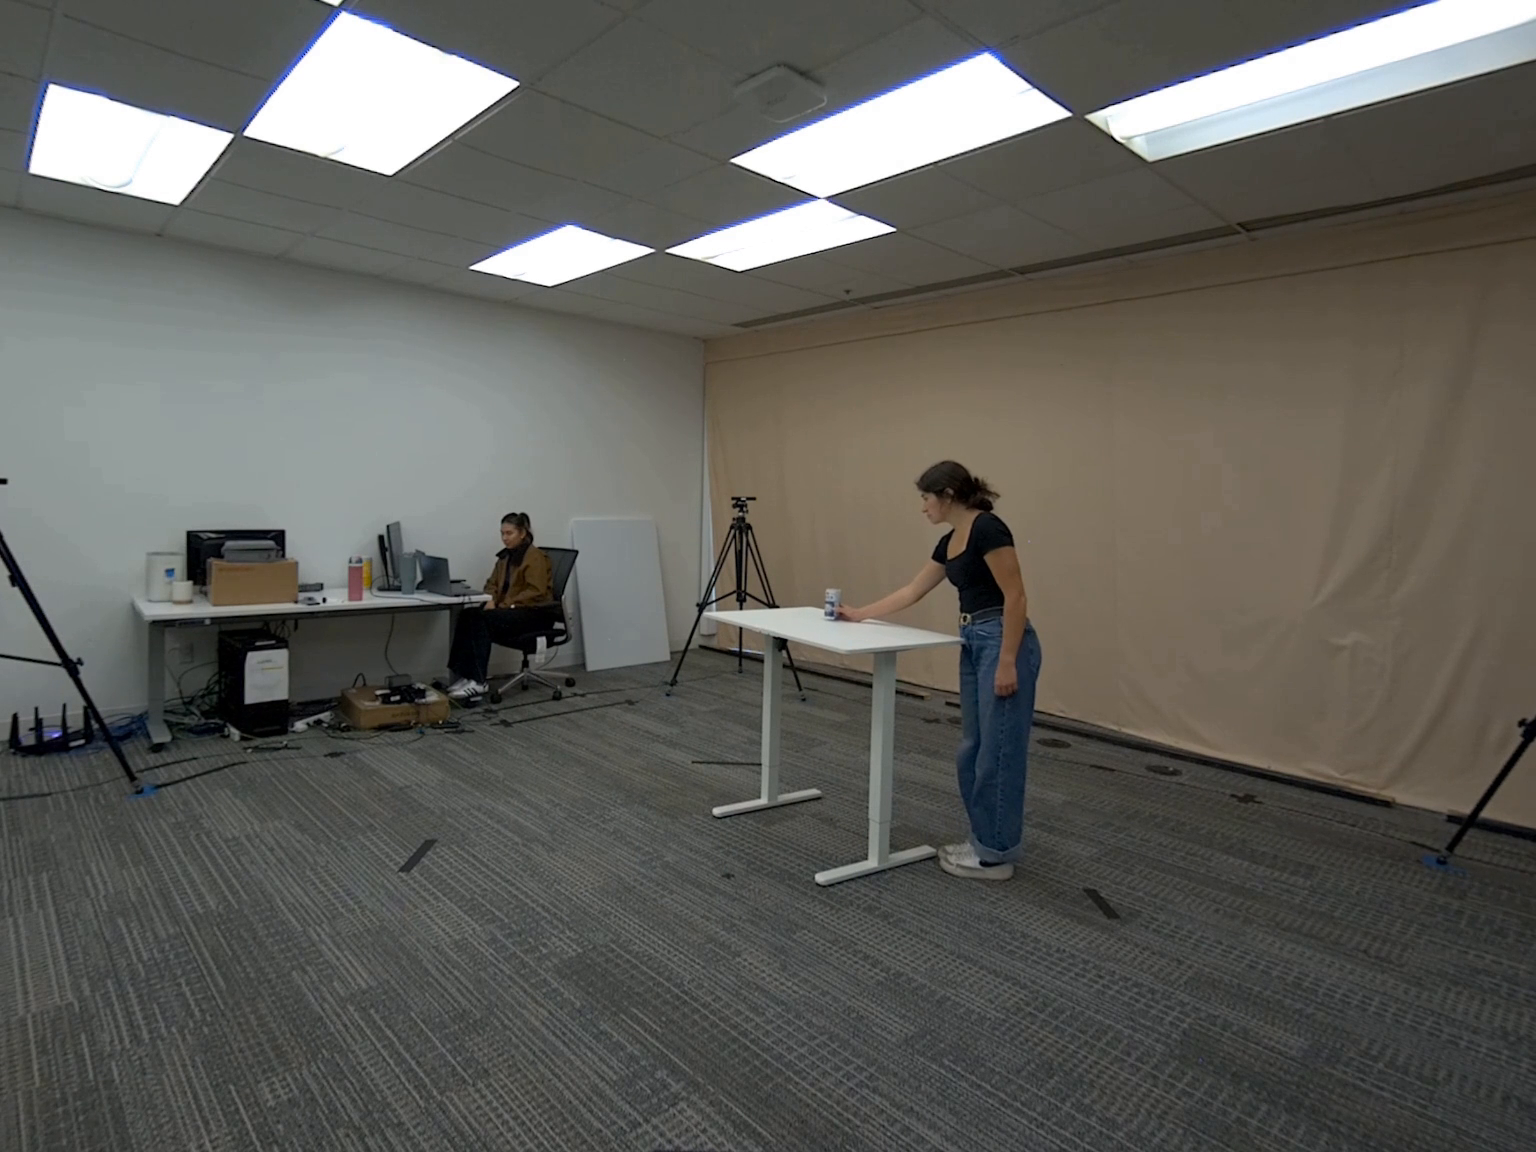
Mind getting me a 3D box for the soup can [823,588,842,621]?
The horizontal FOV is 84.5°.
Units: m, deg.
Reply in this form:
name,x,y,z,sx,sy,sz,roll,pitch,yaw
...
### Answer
name,x,y,z,sx,sy,sz,roll,pitch,yaw
soup can,0.270,0.110,3.611,0.067,0.121,0.067,4,1,-1
